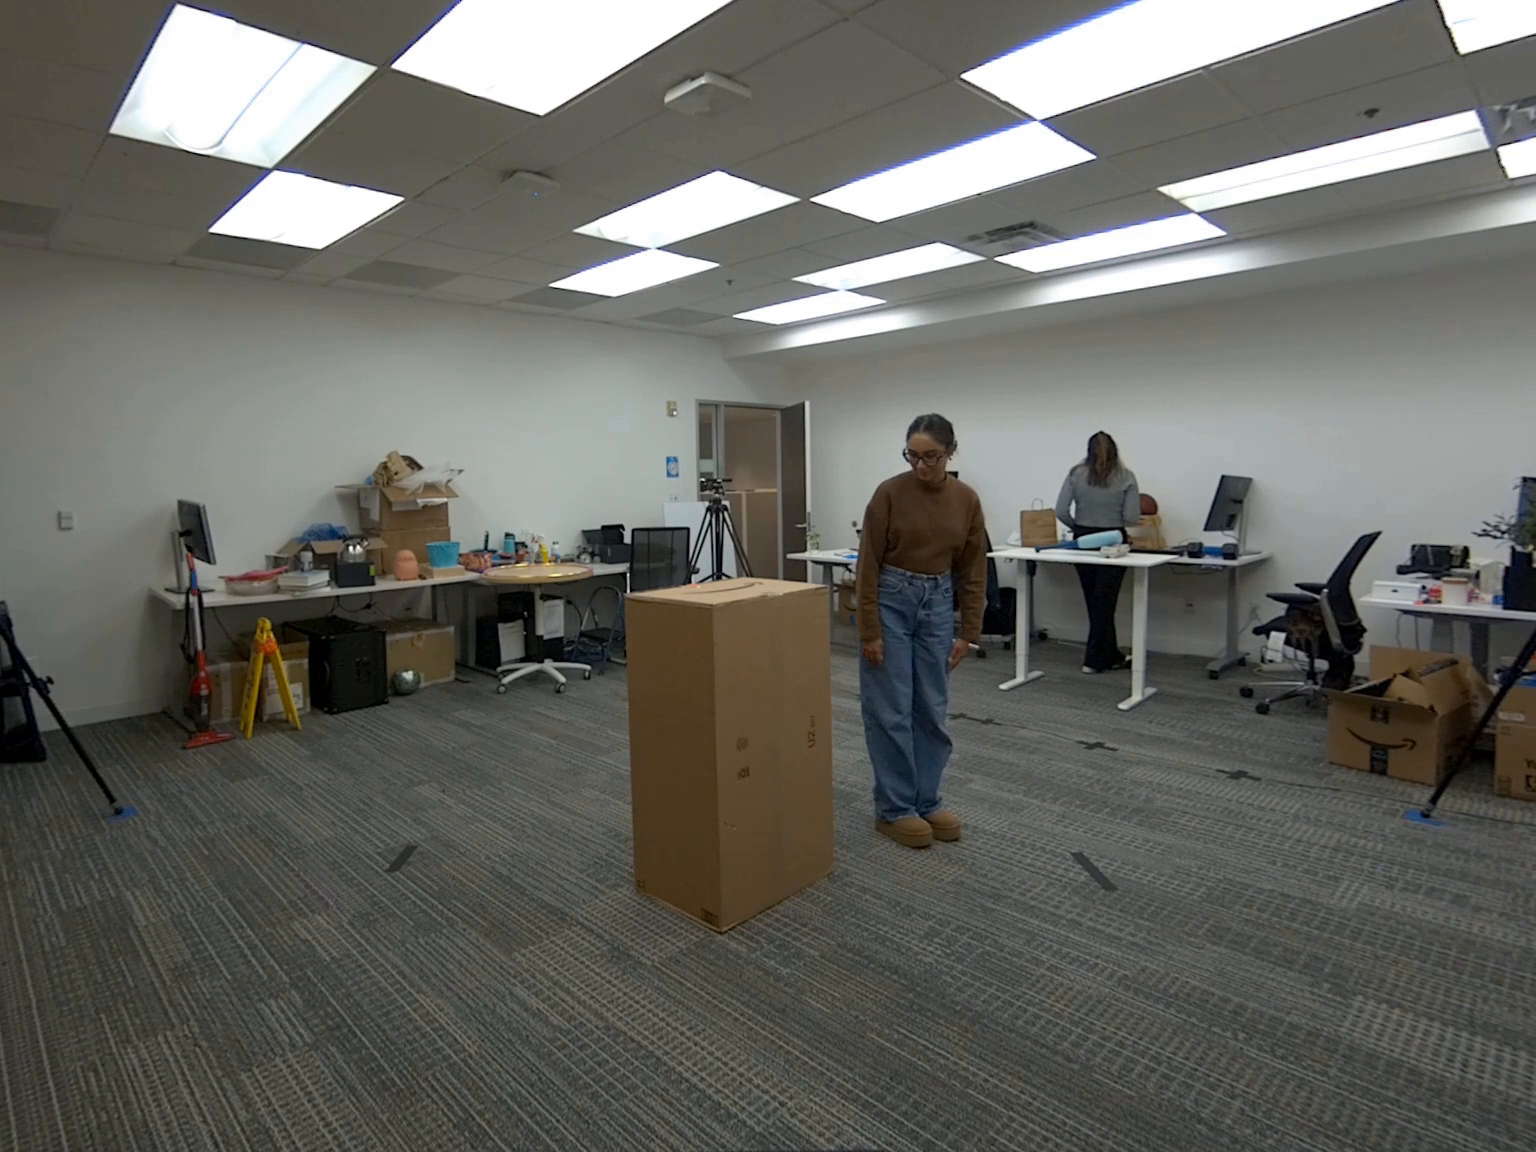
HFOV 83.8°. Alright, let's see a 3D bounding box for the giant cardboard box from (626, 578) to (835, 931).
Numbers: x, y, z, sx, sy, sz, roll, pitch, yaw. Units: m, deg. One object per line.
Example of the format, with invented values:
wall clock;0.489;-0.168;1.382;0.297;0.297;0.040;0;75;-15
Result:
giant cardboard box;-0.123;0.558;2.941;0.460;1.023;0.569;3;6;42
